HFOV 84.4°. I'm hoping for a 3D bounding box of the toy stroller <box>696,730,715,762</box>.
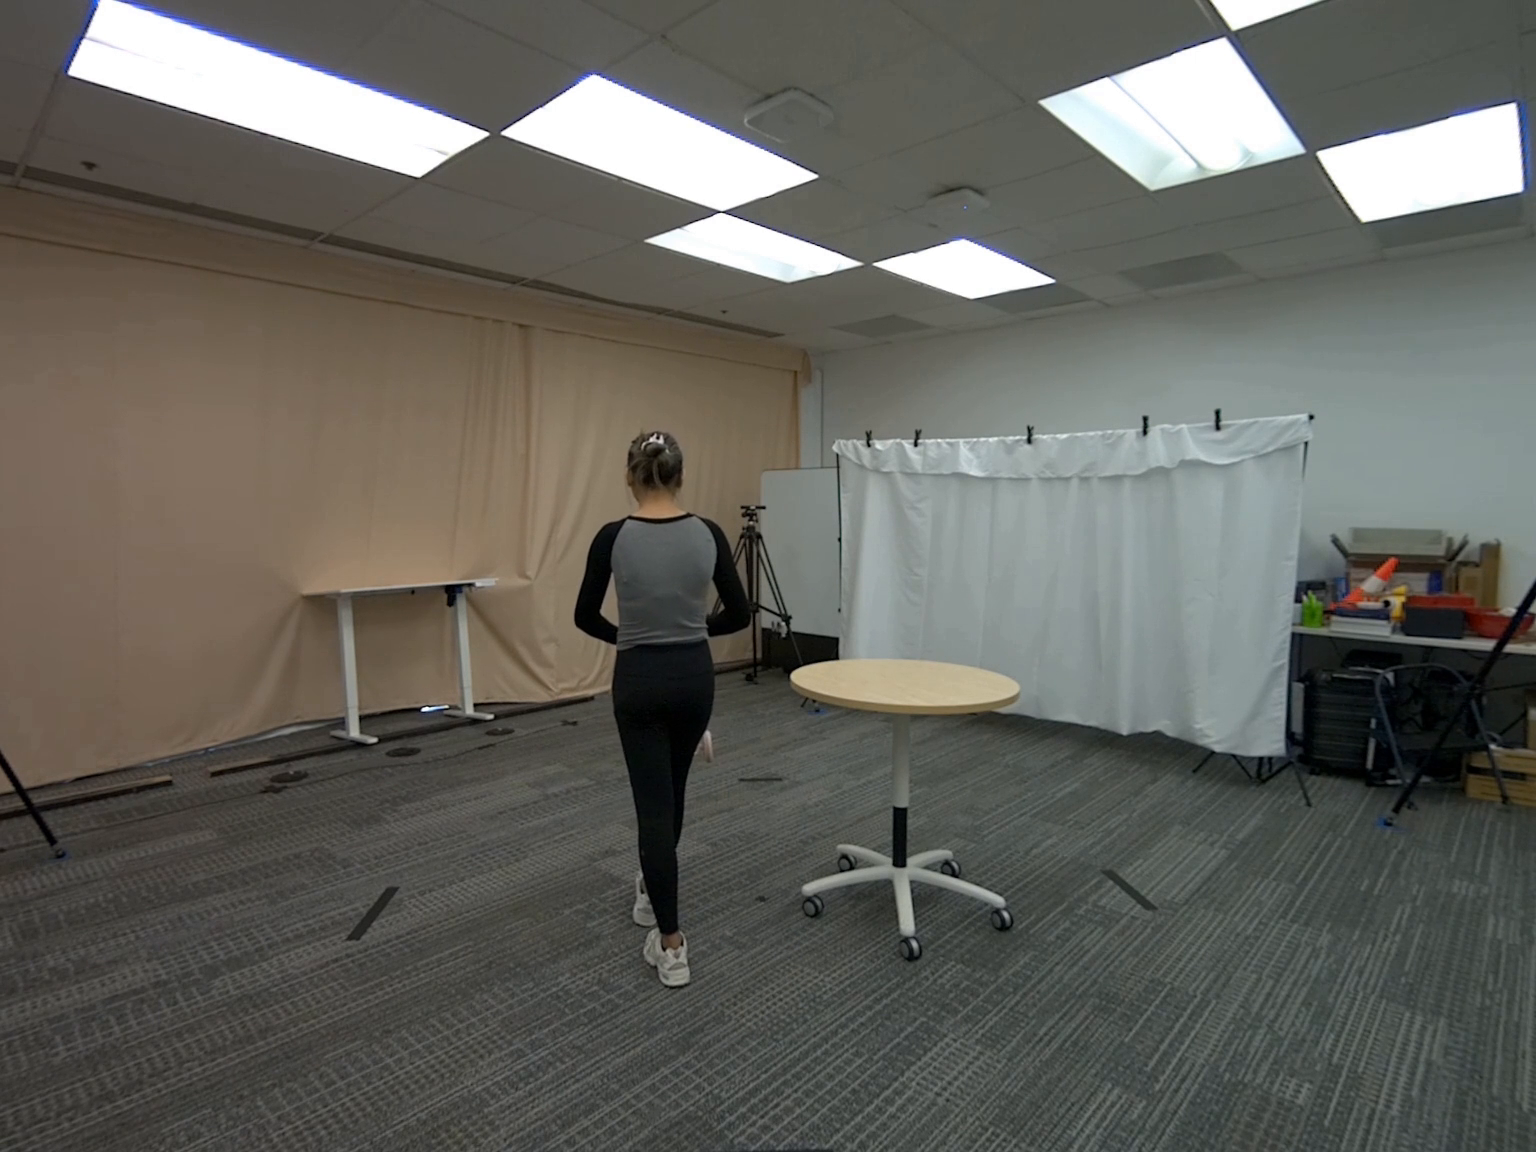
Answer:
[{"bbox_3d":[-0.360,0.435,3.015,0.281,0.532,0.343,-3,7,-3],"label":"toy stroller"}]
